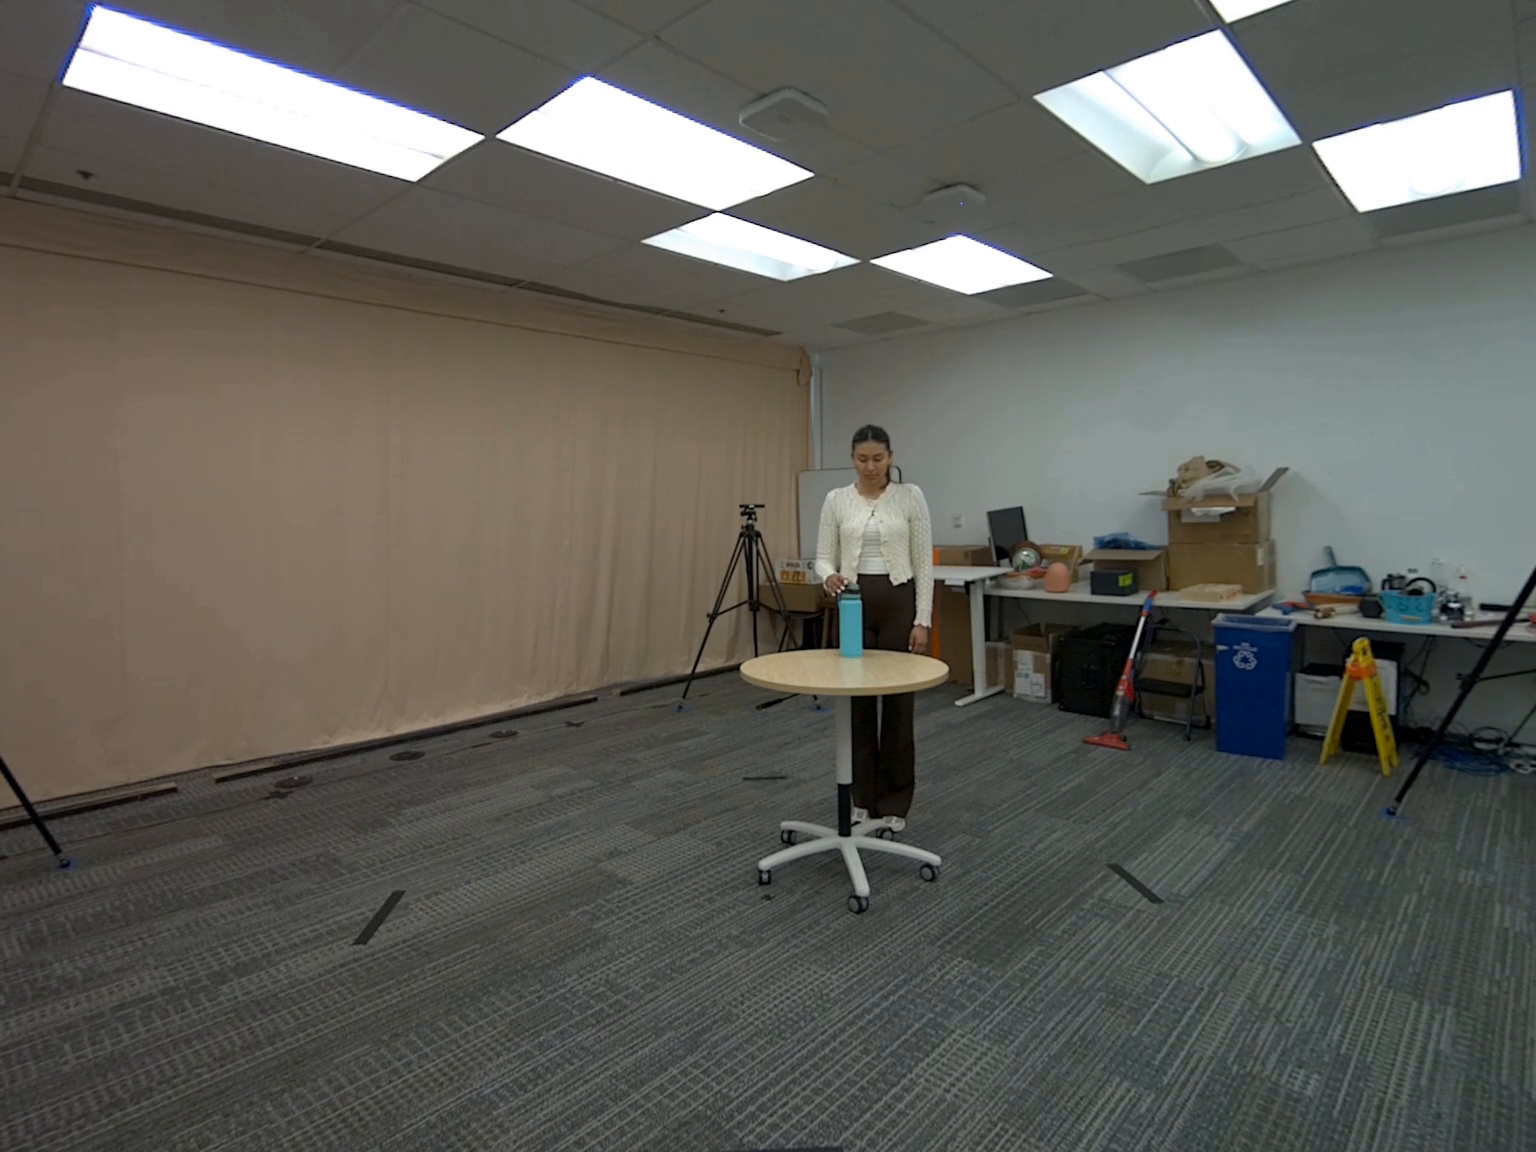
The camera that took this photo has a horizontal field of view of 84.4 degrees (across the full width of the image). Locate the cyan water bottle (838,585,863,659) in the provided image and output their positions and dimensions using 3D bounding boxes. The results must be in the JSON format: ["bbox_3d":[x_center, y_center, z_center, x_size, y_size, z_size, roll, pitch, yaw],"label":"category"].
[{"bbox_3d":[0.340,0.181,3.366,0.092,0.283,0.092,-1,0,-2],"label":"cyan water bottle"}]
